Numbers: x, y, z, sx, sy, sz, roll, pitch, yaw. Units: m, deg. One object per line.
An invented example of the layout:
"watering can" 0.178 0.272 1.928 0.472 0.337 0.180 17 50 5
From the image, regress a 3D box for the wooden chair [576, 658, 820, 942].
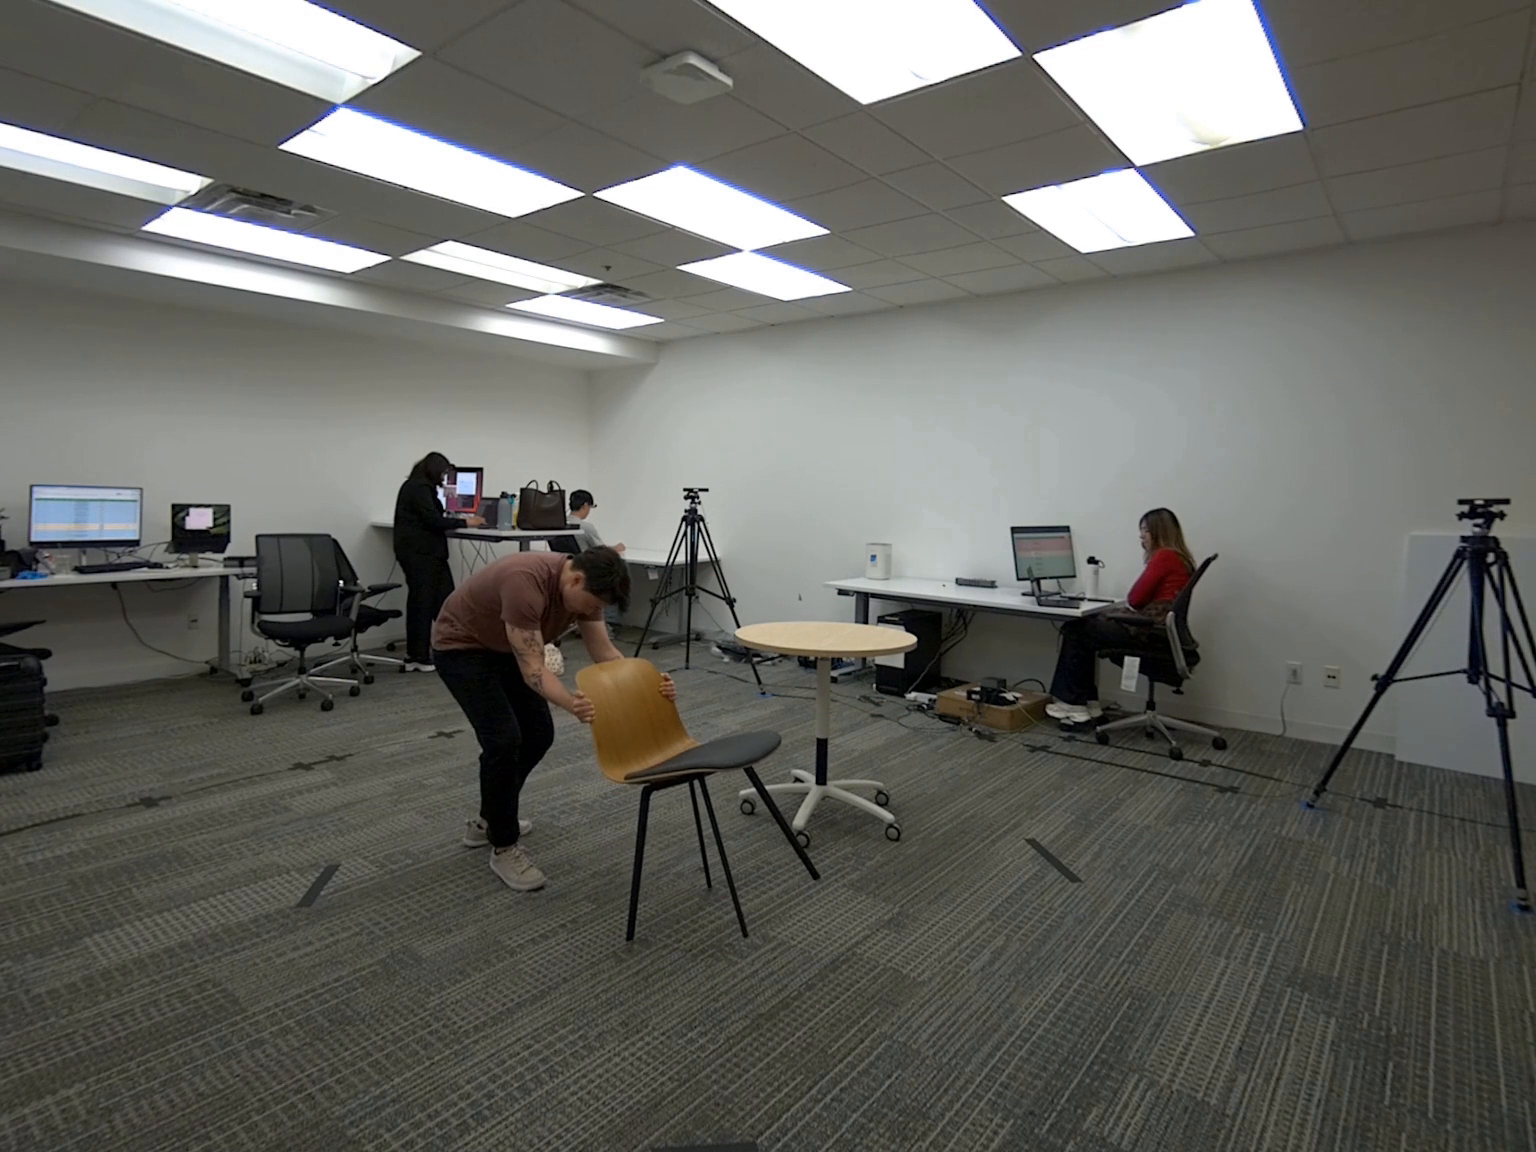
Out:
"wooden chair" -0.239 0.627 2.709 0.531 0.889 0.465 -24 -11 31
